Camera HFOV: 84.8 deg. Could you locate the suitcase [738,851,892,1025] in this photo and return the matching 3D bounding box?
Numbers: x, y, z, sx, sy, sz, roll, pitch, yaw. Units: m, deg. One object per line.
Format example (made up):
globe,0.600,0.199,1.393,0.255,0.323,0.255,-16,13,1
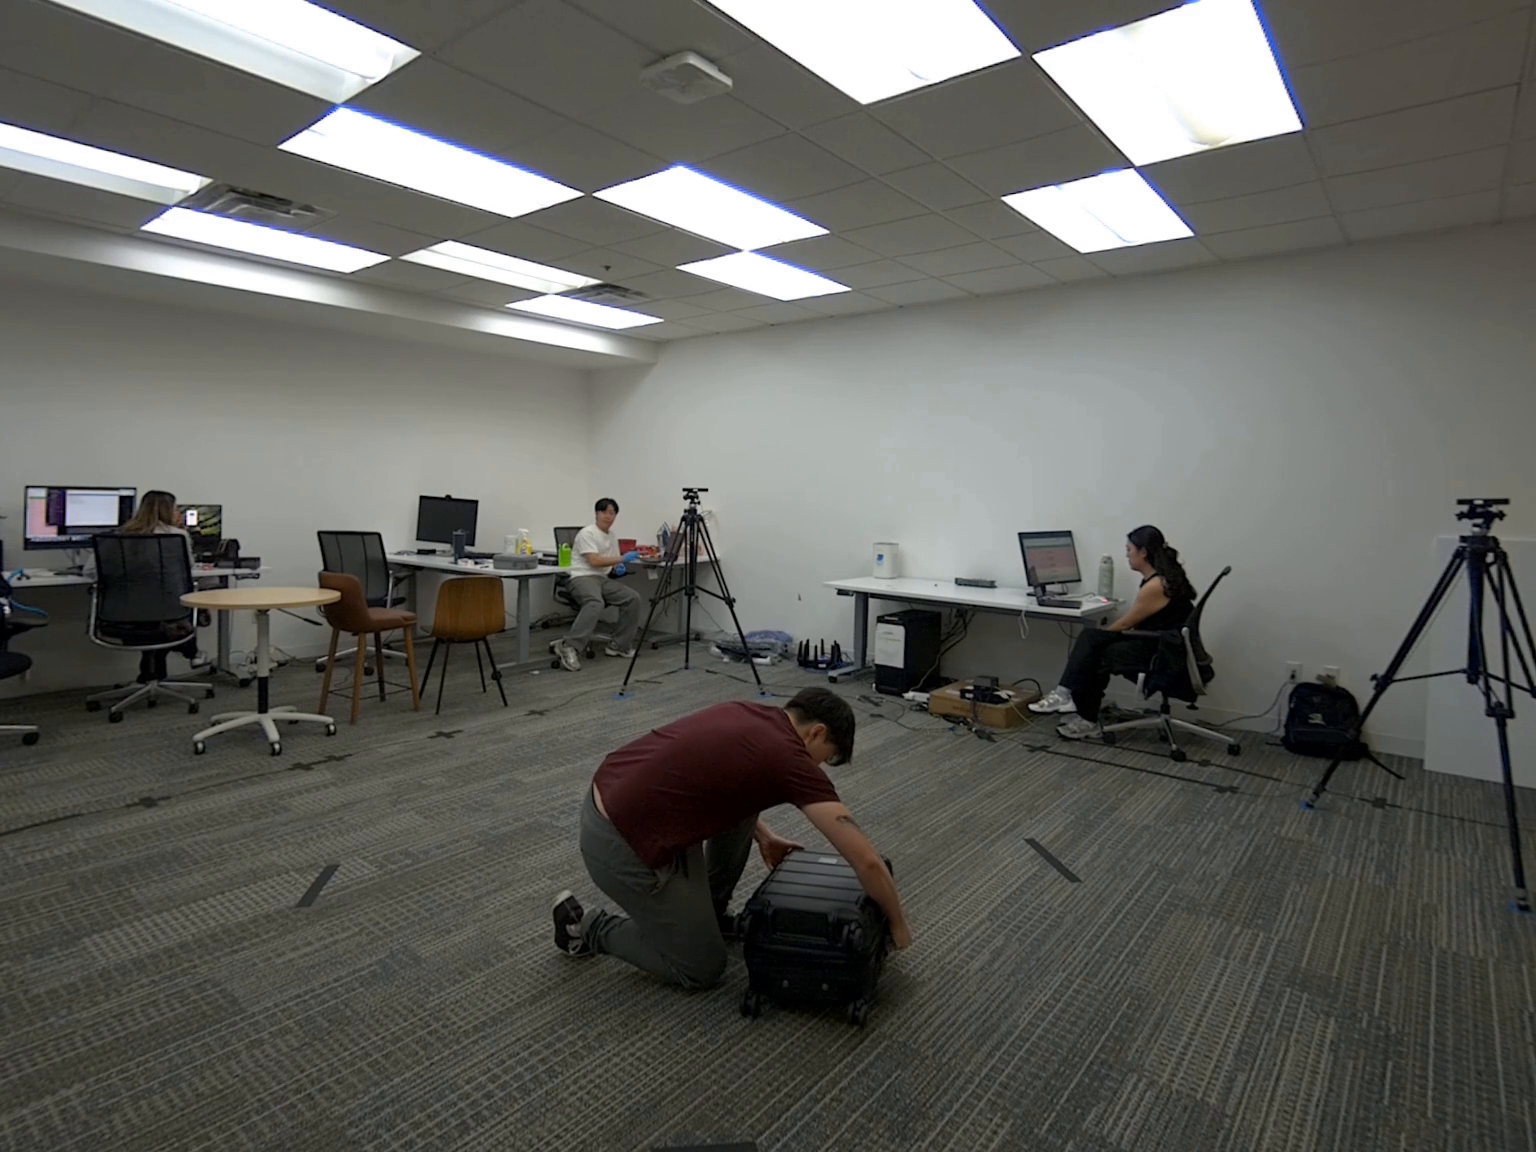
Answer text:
suitcase,0.206,0.980,2.619,0.390,0.257,0.964,-5,3,16
